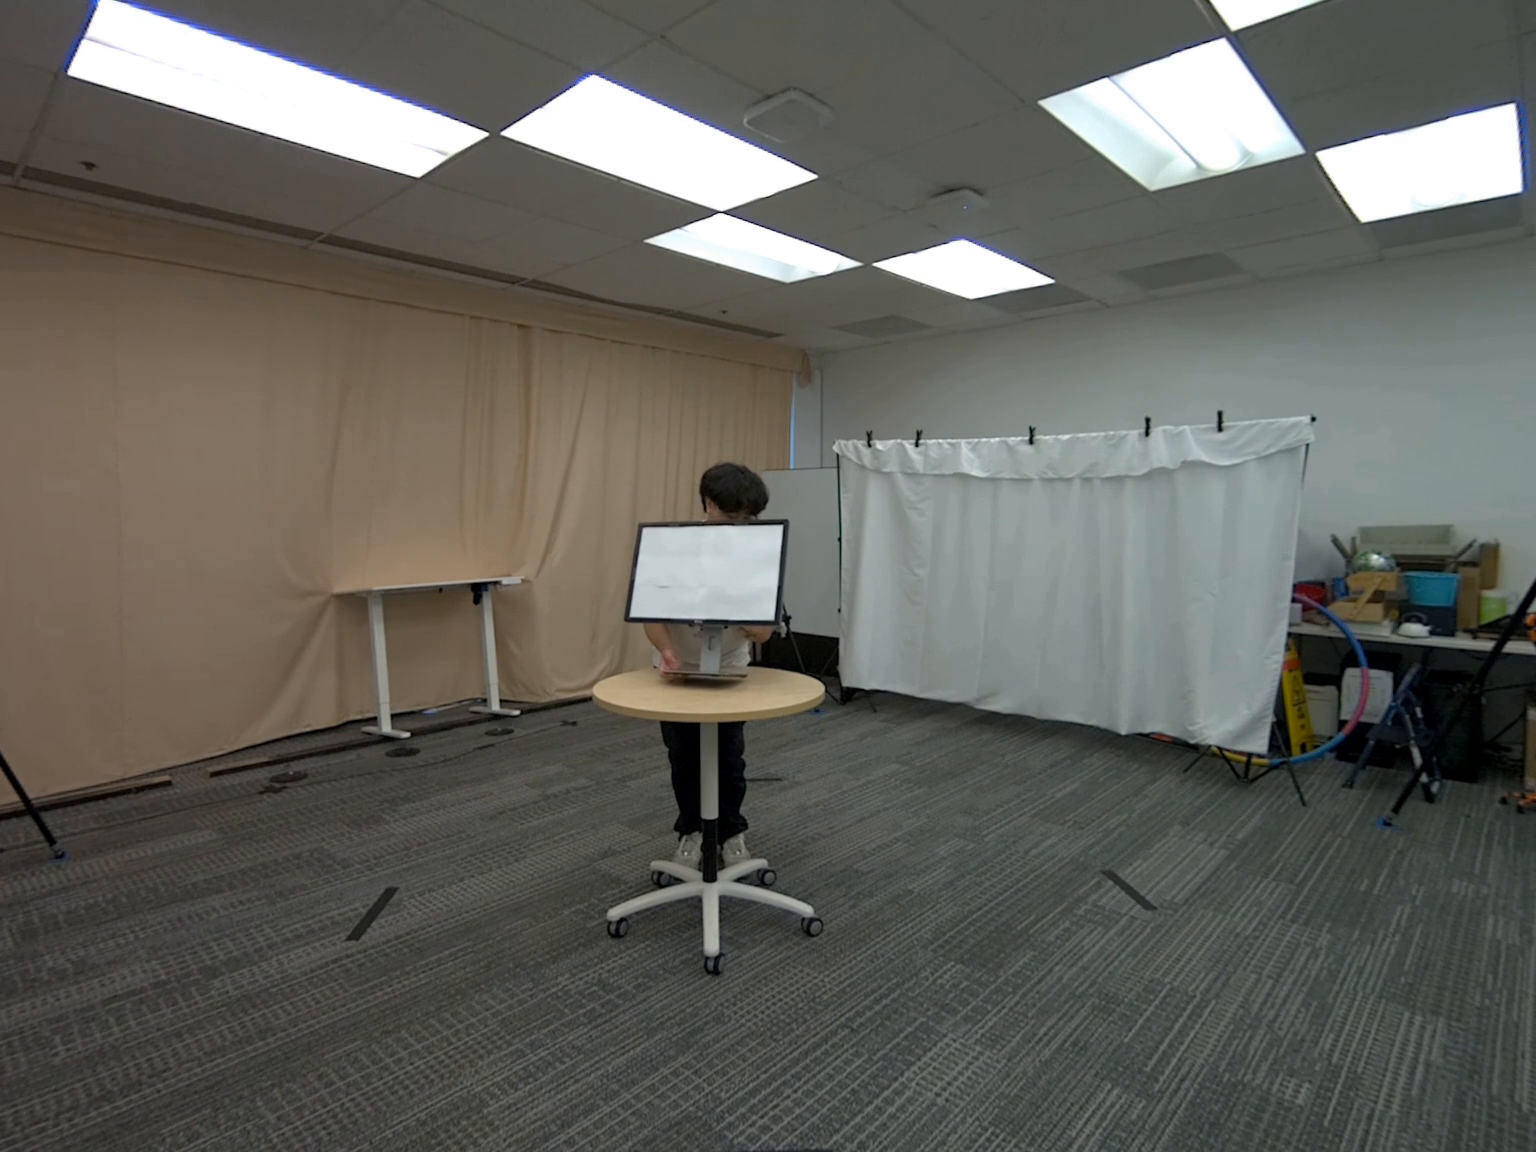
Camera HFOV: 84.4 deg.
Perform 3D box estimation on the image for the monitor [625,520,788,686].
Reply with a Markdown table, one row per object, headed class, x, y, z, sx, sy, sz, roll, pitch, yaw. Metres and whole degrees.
| class | x | y | z | sx | sy | sz | roll | pitch | yaw |
| --- | --- | --- | --- | --- | --- | --- | --- | --- | --- |
| monitor | -0.193 | 0.086 | 2.897 | 0.578 | 0.557 | 0.204 | 0 | -13 | 21 |
